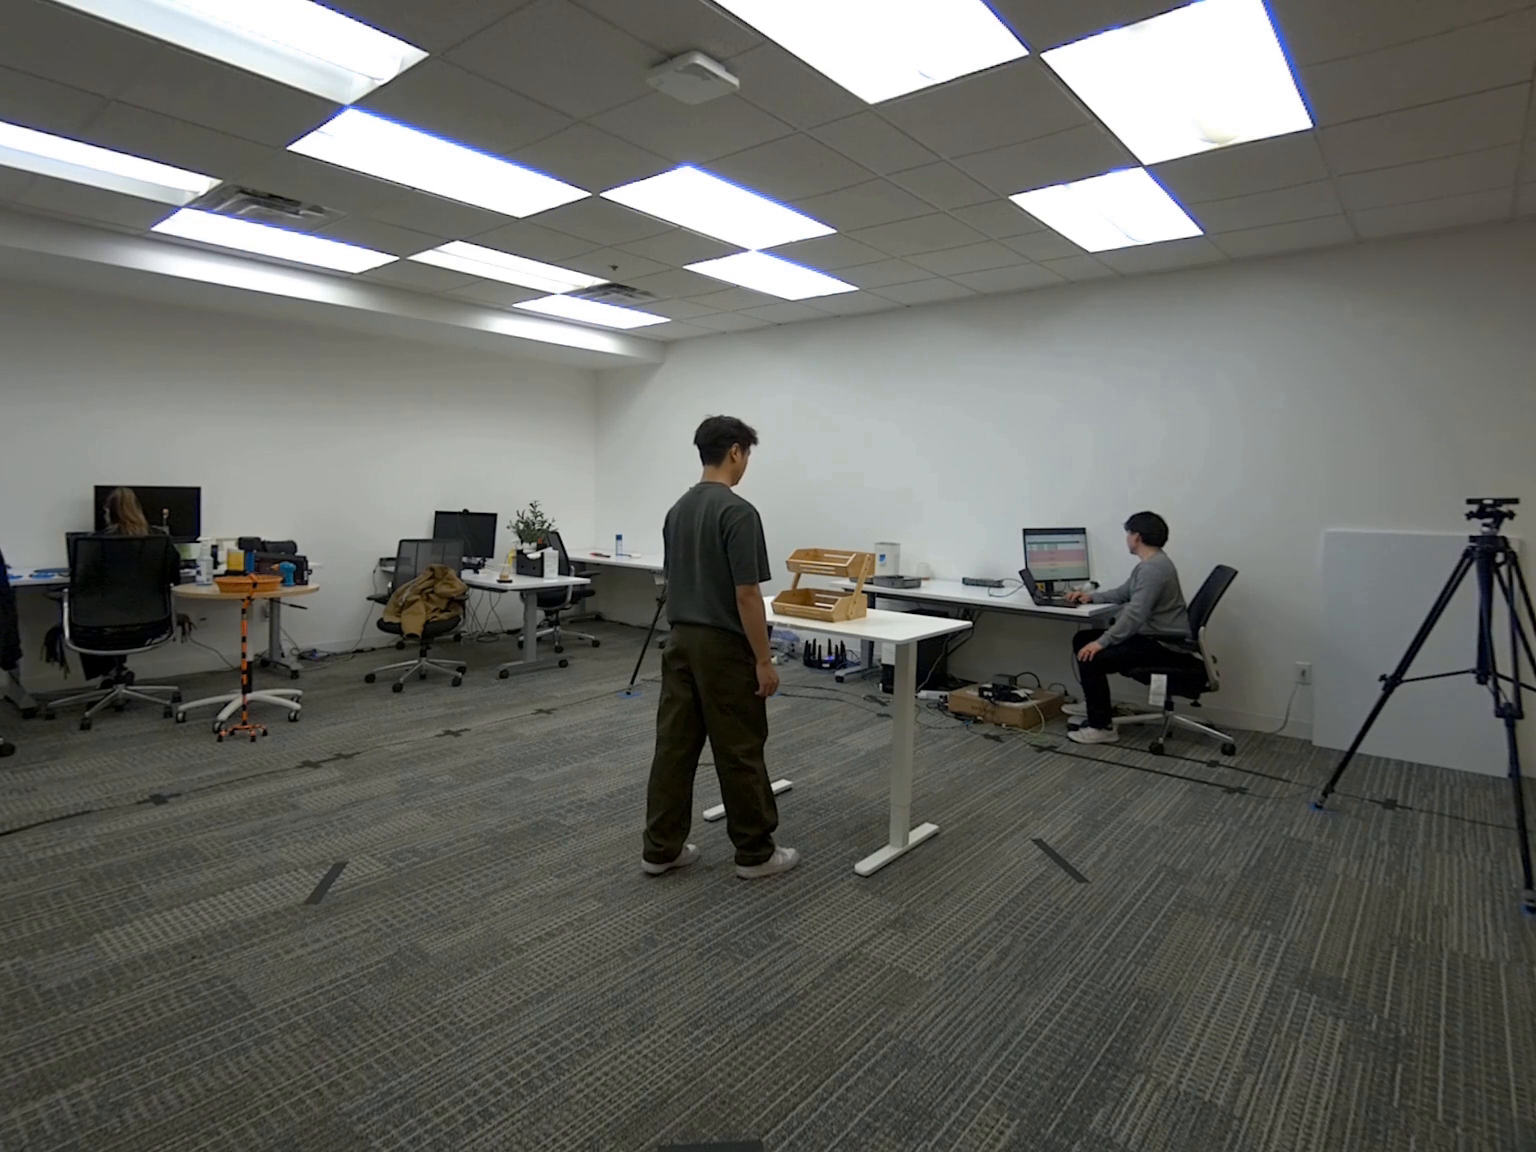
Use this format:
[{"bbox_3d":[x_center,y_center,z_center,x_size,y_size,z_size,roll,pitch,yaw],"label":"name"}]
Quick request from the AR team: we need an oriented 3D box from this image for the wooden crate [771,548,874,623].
[{"bbox_3d":[0.216,0.022,3.477,0.335,0.272,0.293,6,5,39],"label":"wooden crate"}]
